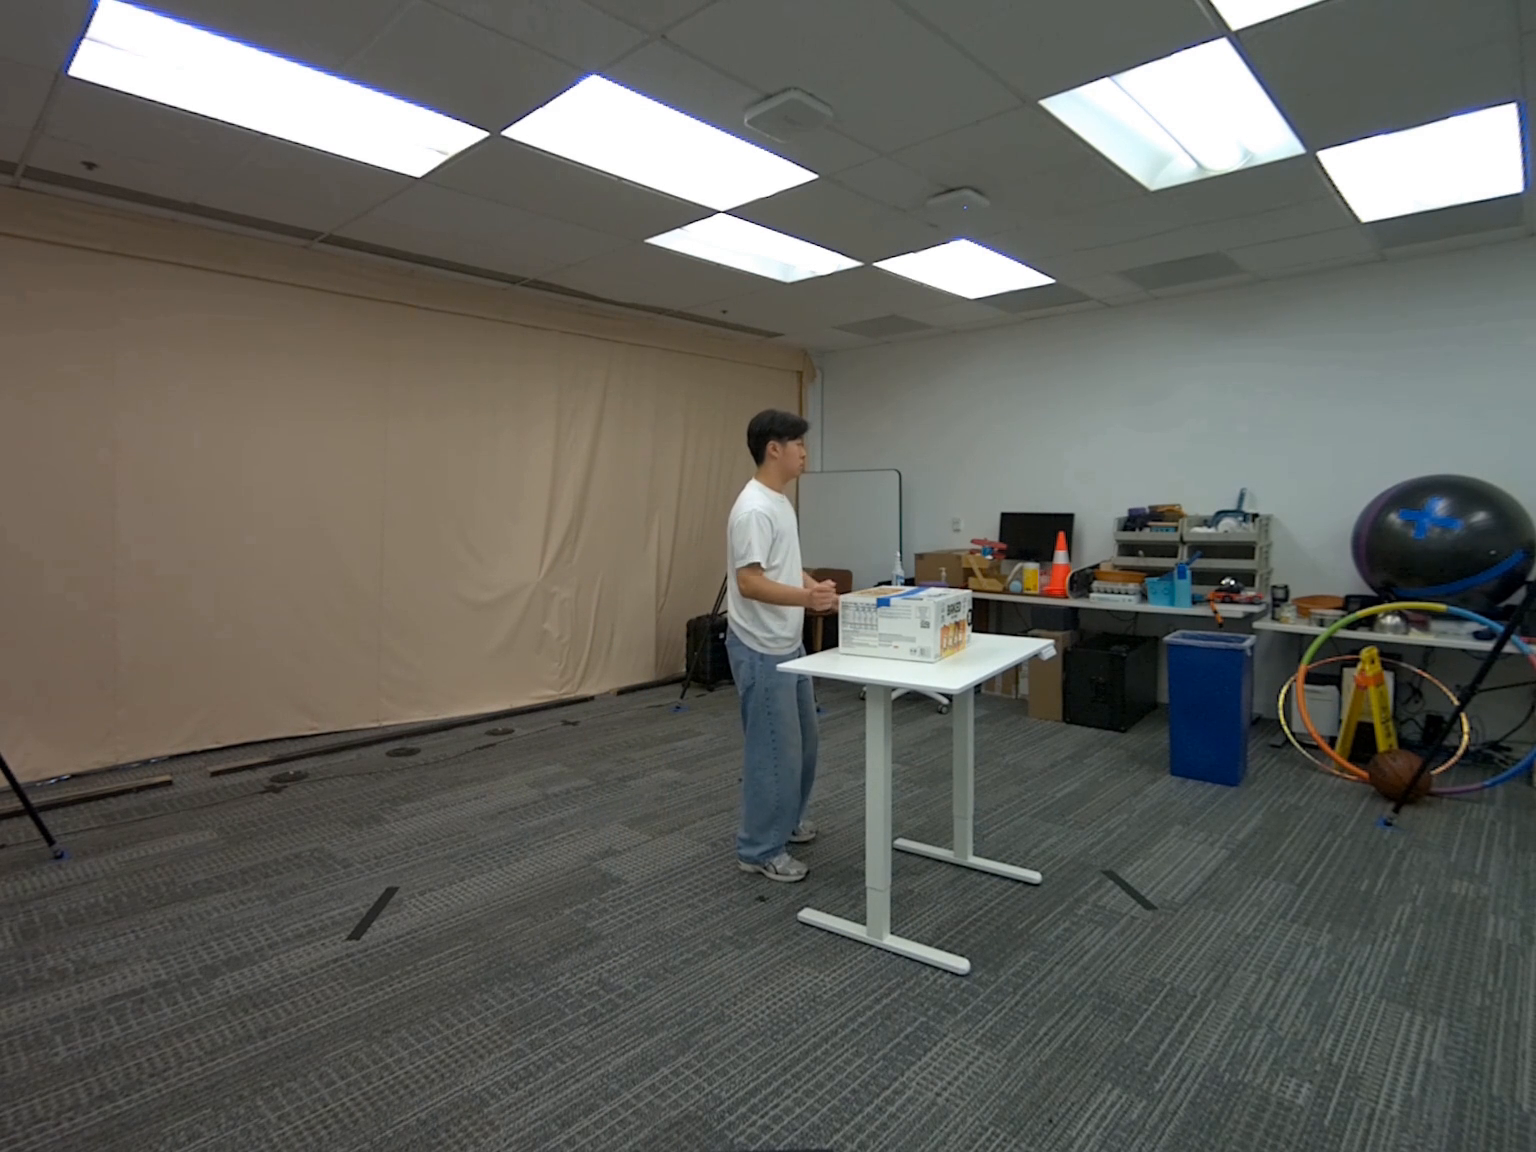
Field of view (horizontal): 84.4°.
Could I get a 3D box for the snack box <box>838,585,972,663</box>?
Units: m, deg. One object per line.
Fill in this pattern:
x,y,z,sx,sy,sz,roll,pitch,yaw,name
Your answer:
0.495,0.162,2.965,0.350,0.205,0.394,2,5,32,snack box
